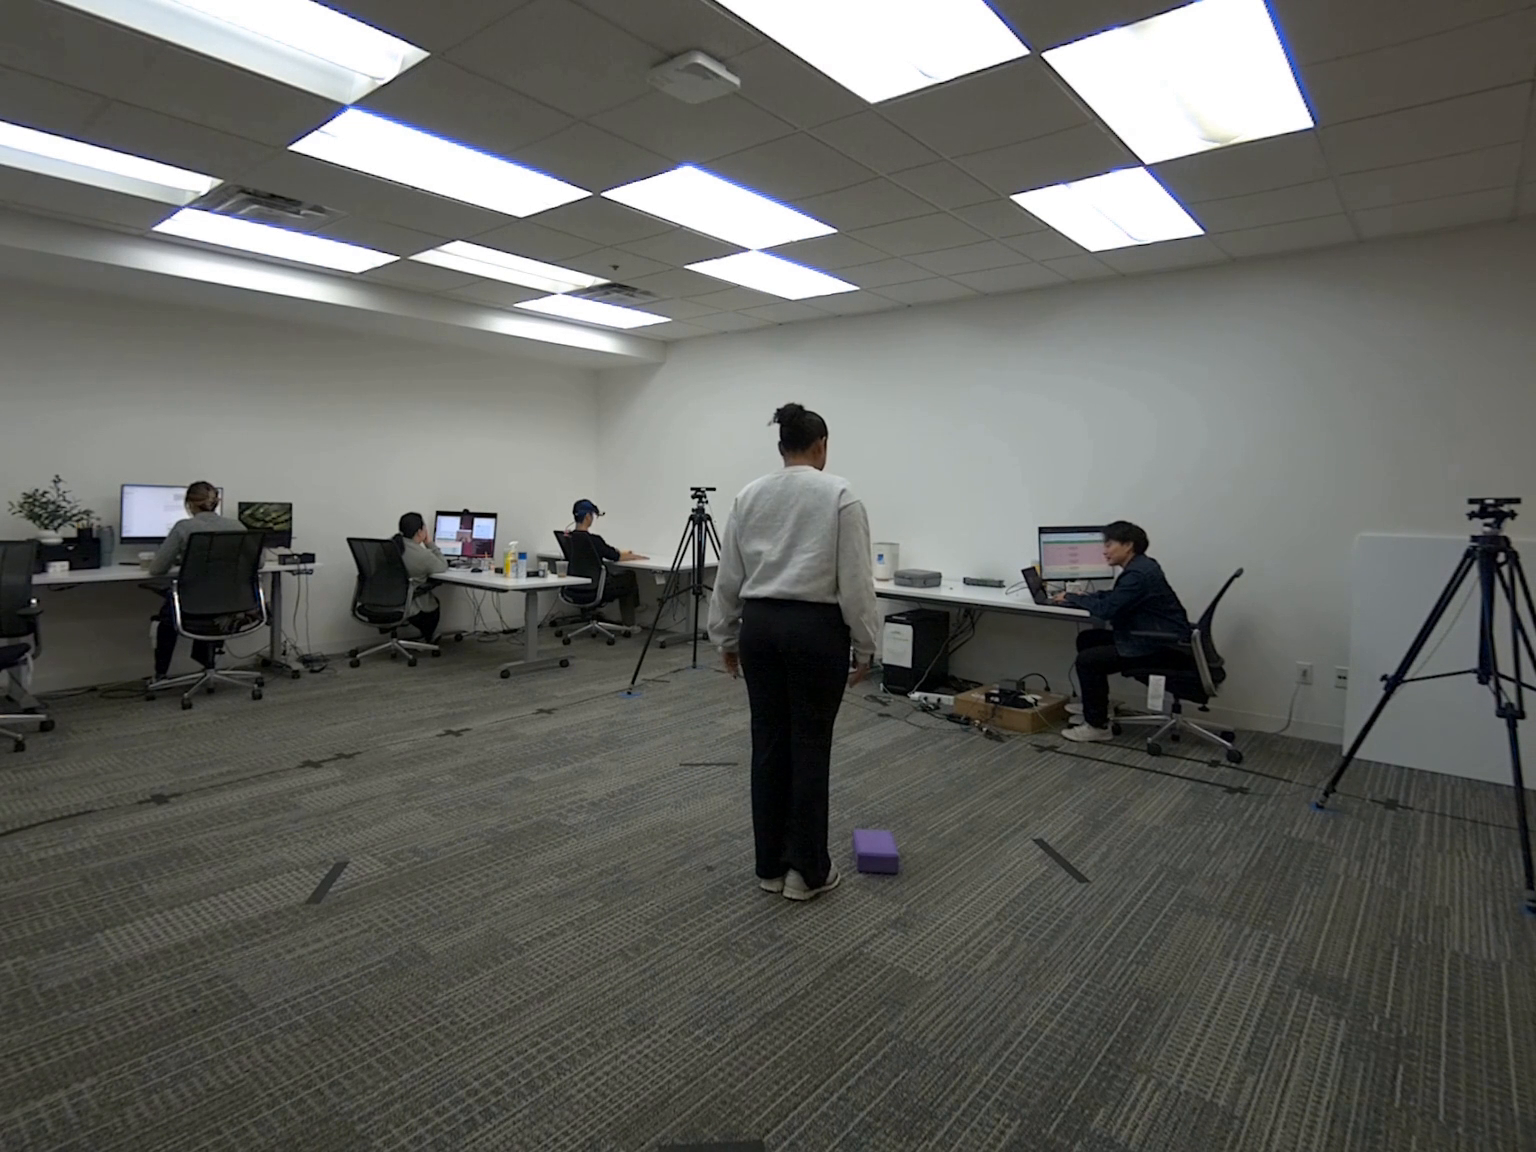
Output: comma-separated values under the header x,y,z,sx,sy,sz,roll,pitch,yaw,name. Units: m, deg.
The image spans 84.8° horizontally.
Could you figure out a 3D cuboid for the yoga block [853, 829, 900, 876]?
x,y,z,sx,sy,sz,roll,pitch,yaw,name
0.393,1.027,3.206,0.149,0.076,0.229,0,4,2,yoga block
